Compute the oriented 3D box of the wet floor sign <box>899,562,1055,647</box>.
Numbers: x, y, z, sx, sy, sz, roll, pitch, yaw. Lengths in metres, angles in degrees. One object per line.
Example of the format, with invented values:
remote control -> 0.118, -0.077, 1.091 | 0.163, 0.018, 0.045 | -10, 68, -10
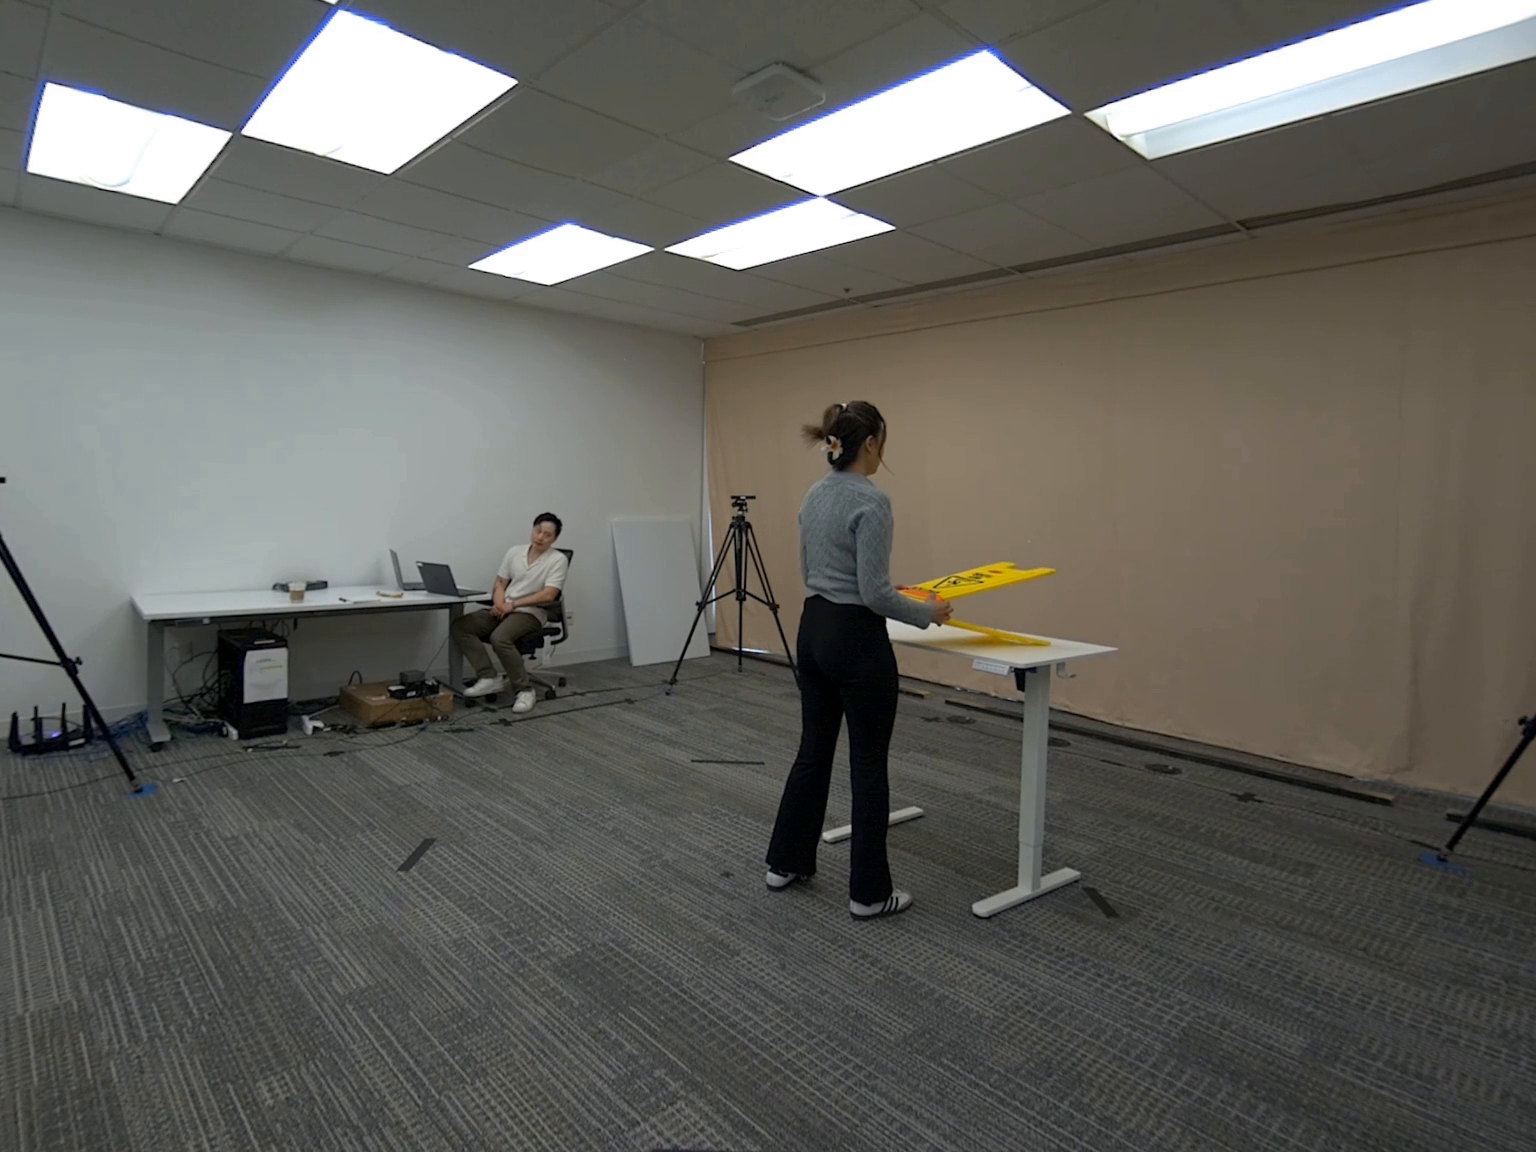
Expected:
wet floor sign -> 0.687, 0.101, 3.048 | 0.634, 0.289, 0.288 | 1, 4, -26
